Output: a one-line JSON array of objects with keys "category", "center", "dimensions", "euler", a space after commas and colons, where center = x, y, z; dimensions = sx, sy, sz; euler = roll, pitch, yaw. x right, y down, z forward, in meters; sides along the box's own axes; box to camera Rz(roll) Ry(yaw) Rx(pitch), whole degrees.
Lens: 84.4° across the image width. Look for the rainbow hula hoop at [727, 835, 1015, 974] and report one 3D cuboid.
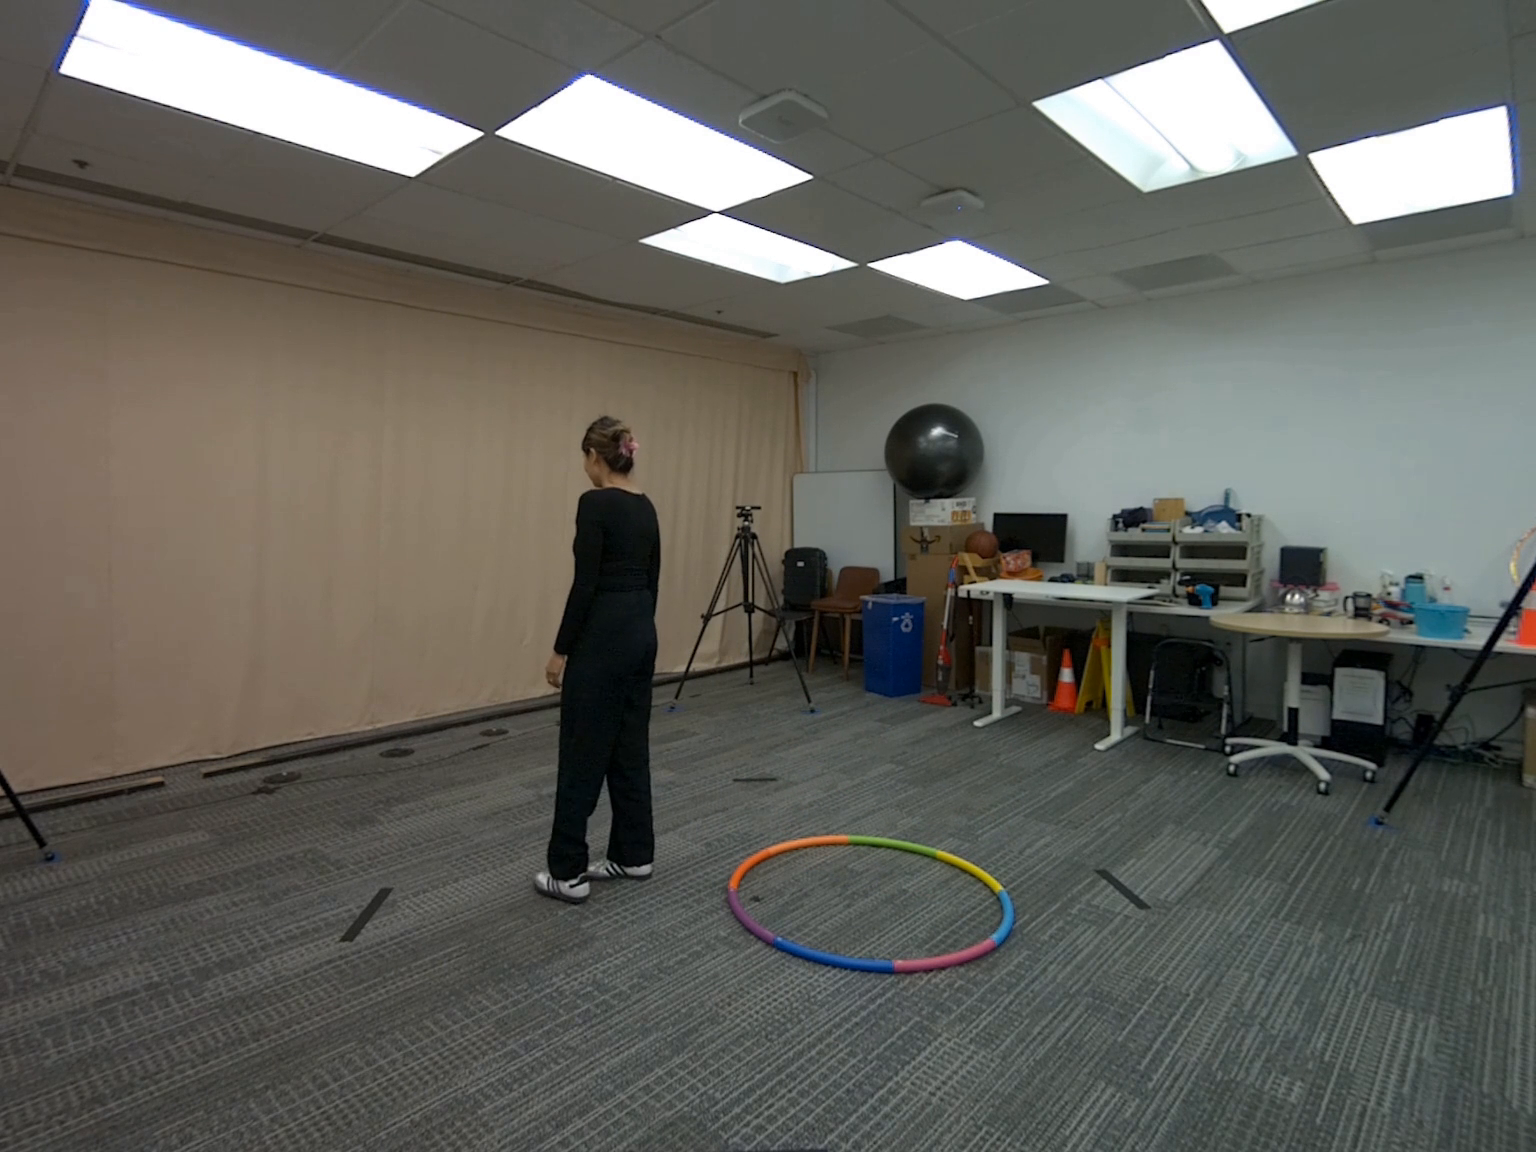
[{"category": "rainbow hula hoop", "center": [0.344, 1.108, 2.990], "dimensions": [0.978, 0.035, 0.982], "euler": [-1, 5, -2]}]
